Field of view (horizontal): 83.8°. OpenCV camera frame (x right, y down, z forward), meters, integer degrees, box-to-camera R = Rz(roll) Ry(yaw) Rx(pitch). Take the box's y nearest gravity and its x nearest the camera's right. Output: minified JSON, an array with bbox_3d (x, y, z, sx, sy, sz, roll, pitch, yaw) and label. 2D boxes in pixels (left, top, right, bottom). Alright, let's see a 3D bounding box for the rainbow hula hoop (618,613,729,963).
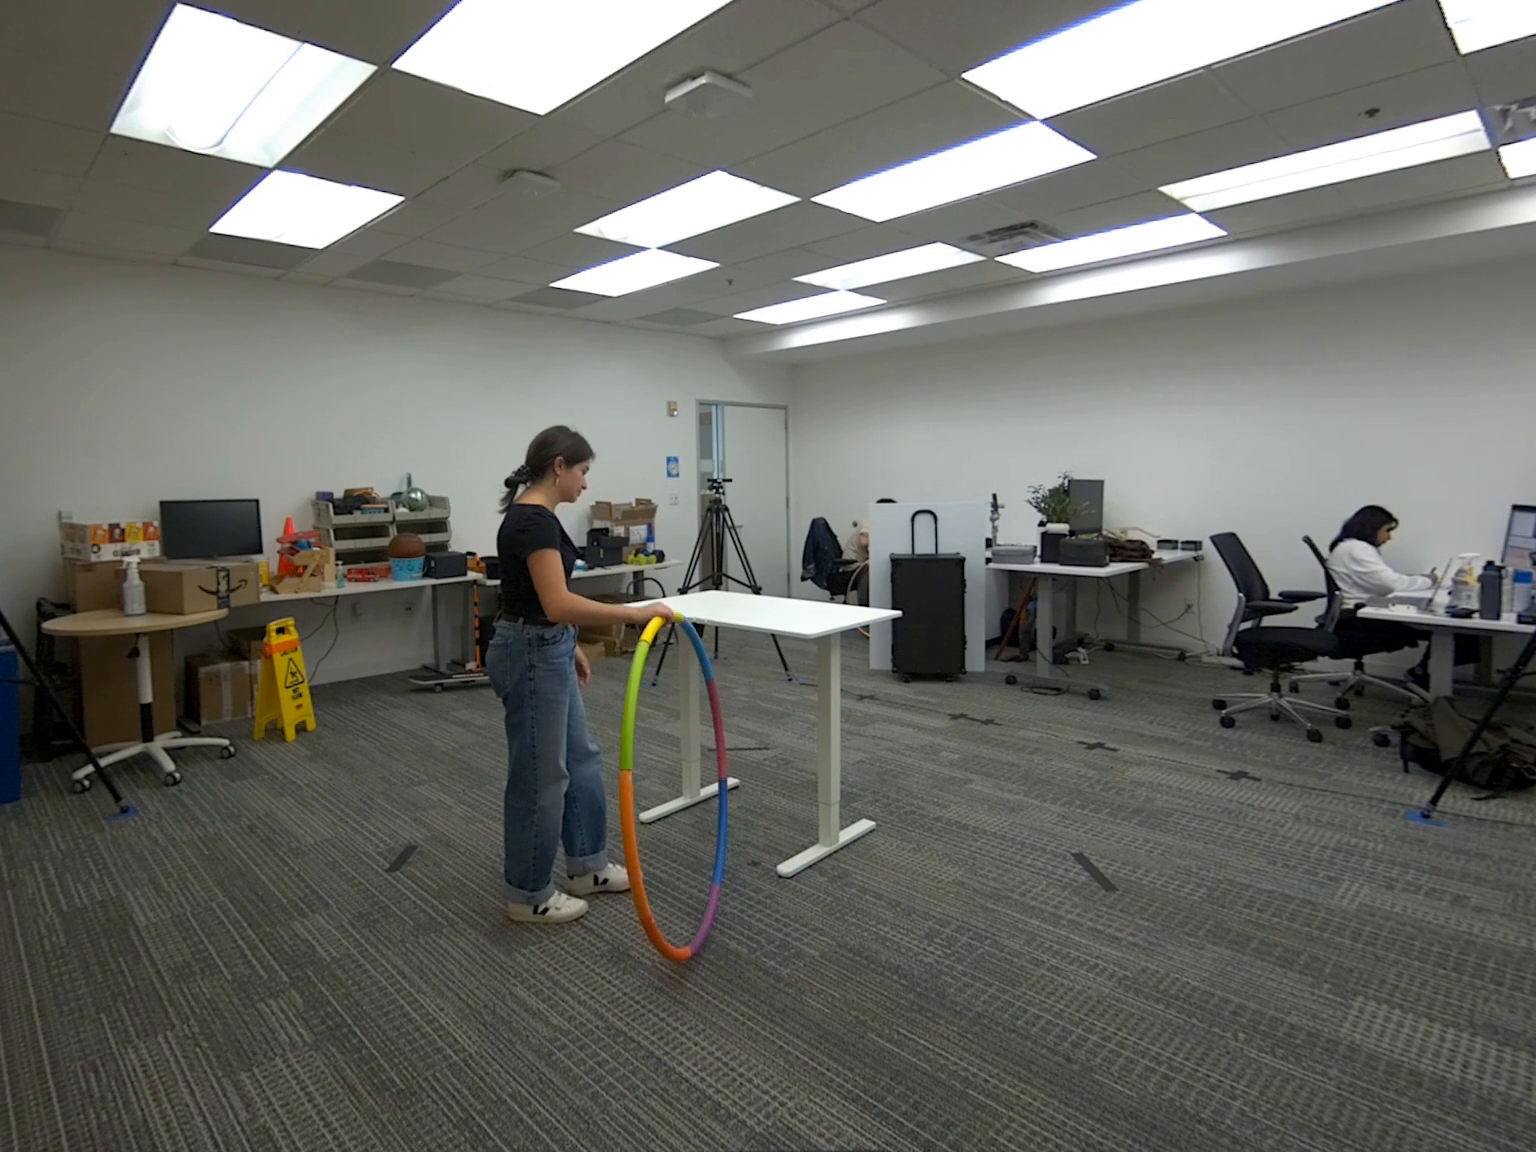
[{"bbox_3d":[-0.256,0.602,2.570,0.036,0.976,0.971,-8,3,11],"label":"rainbow hula hoop"}]
